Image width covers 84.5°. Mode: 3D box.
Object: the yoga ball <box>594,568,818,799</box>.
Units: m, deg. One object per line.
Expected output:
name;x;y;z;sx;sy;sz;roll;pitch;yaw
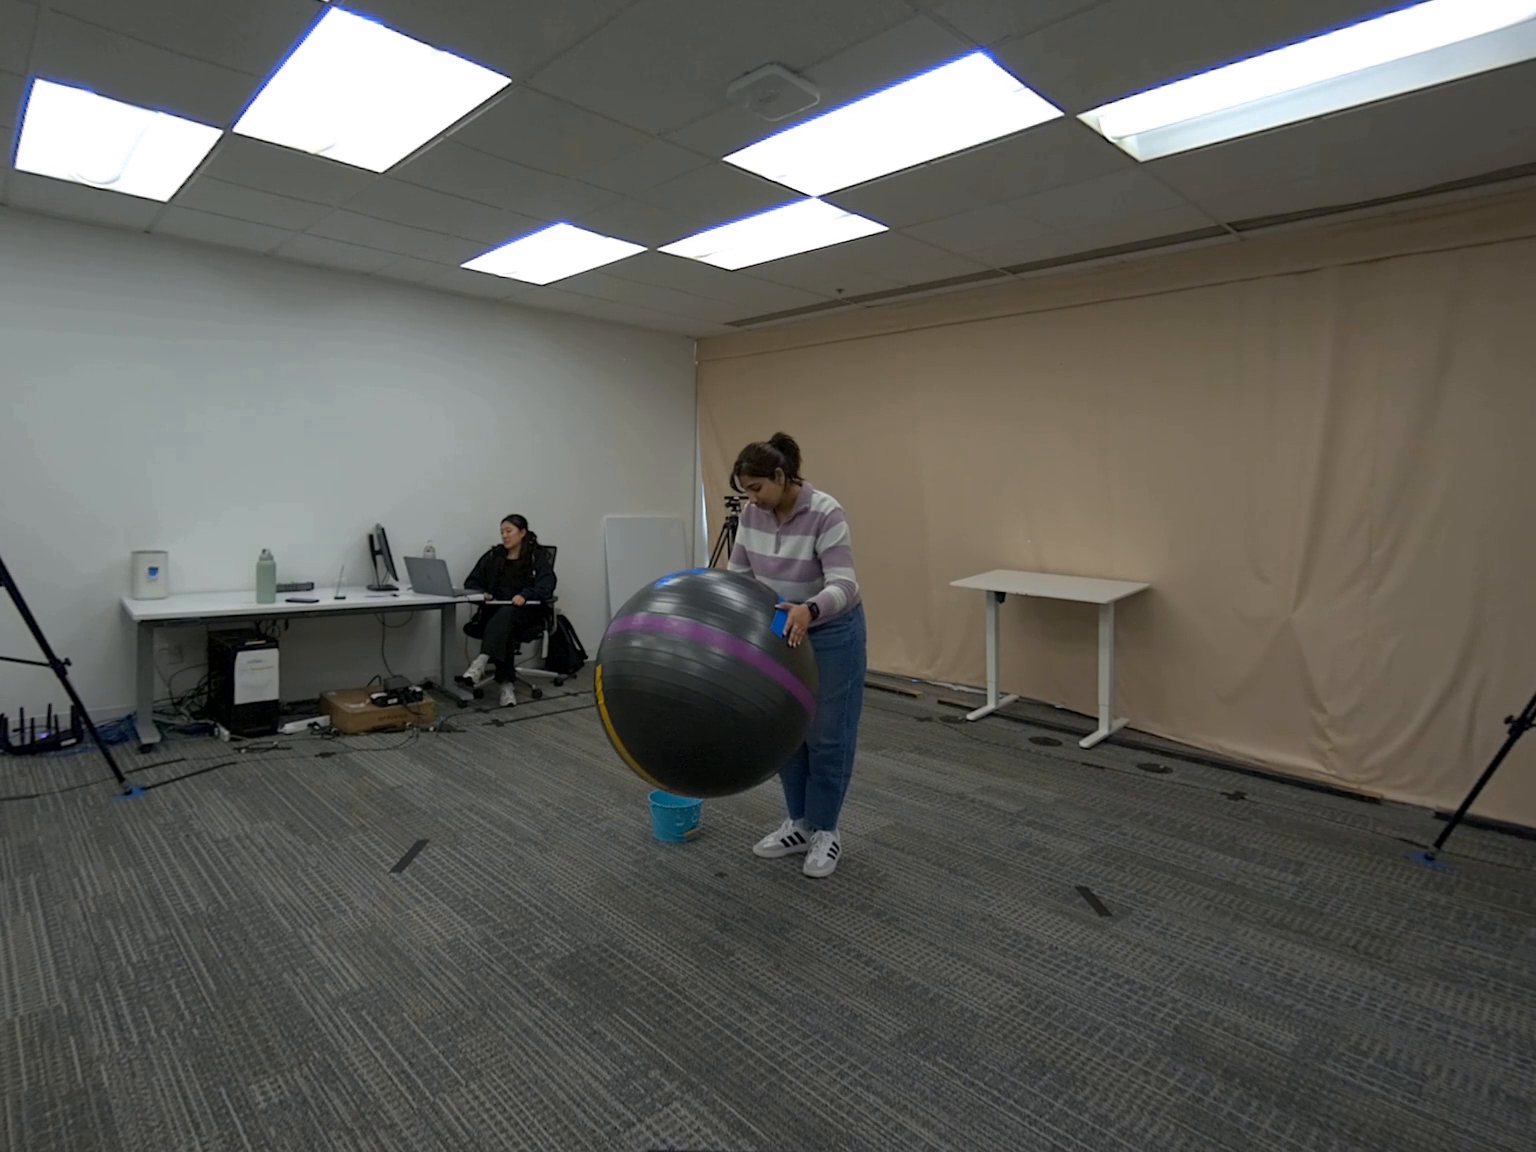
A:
yoga ball;-0.214;0.371;2.839;0.757;0.756;0.761;1;4;-1
